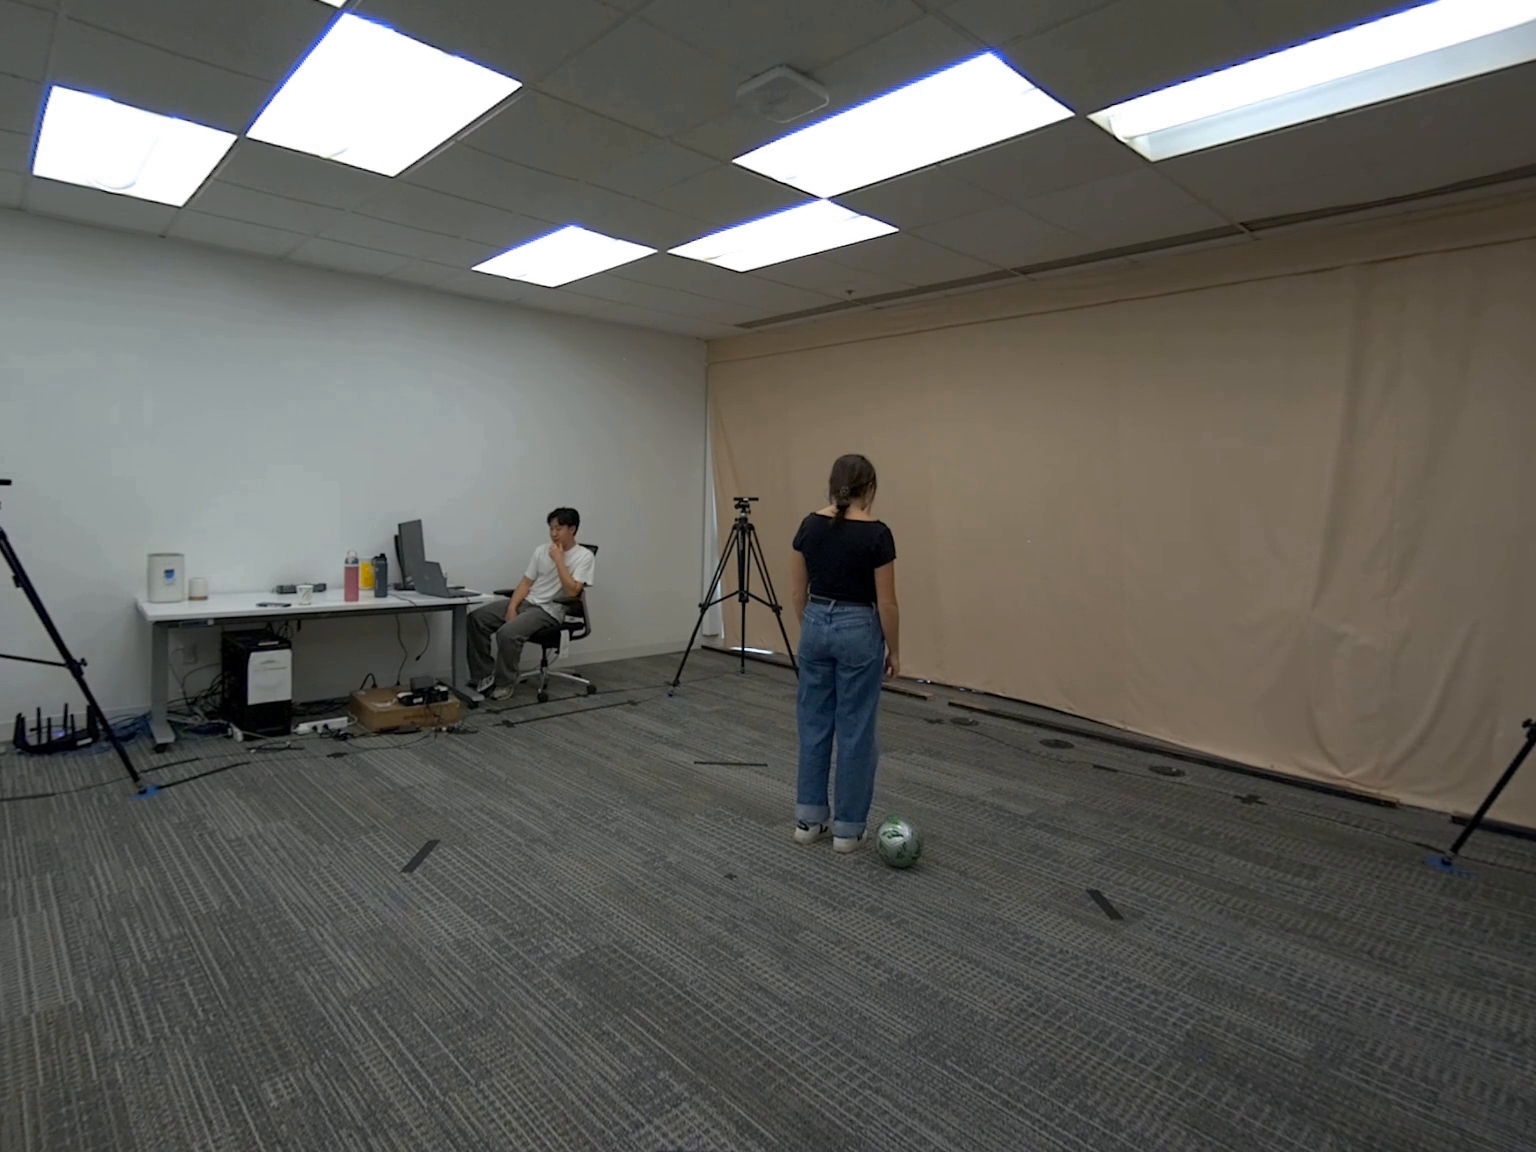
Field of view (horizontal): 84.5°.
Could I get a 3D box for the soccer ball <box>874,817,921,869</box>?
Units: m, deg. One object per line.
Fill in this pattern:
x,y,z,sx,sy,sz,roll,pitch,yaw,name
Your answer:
0.487,1.024,3.228,0.187,0.187,0.188,1,4,-1,soccer ball
